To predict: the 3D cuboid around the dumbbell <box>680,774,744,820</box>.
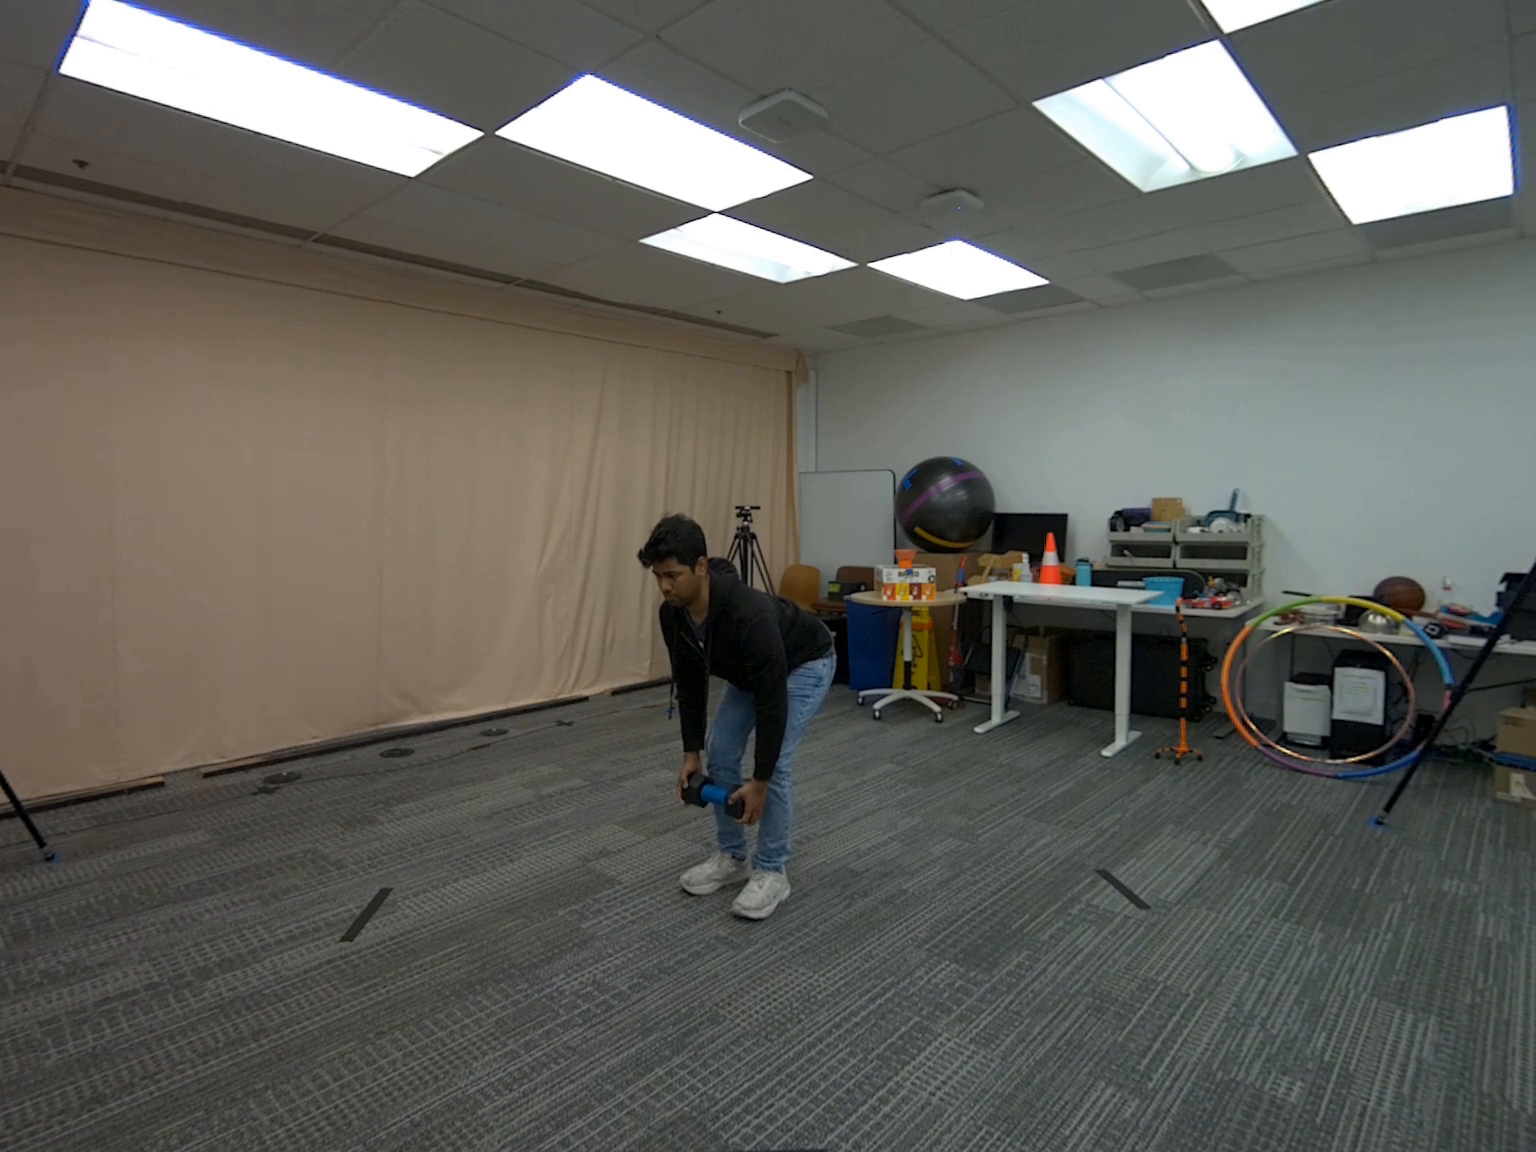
[{"bbox_3d":[-0.159,0.769,2.947,0.303,0.109,0.118,1,-24,44],"label":"dumbbell"}]
